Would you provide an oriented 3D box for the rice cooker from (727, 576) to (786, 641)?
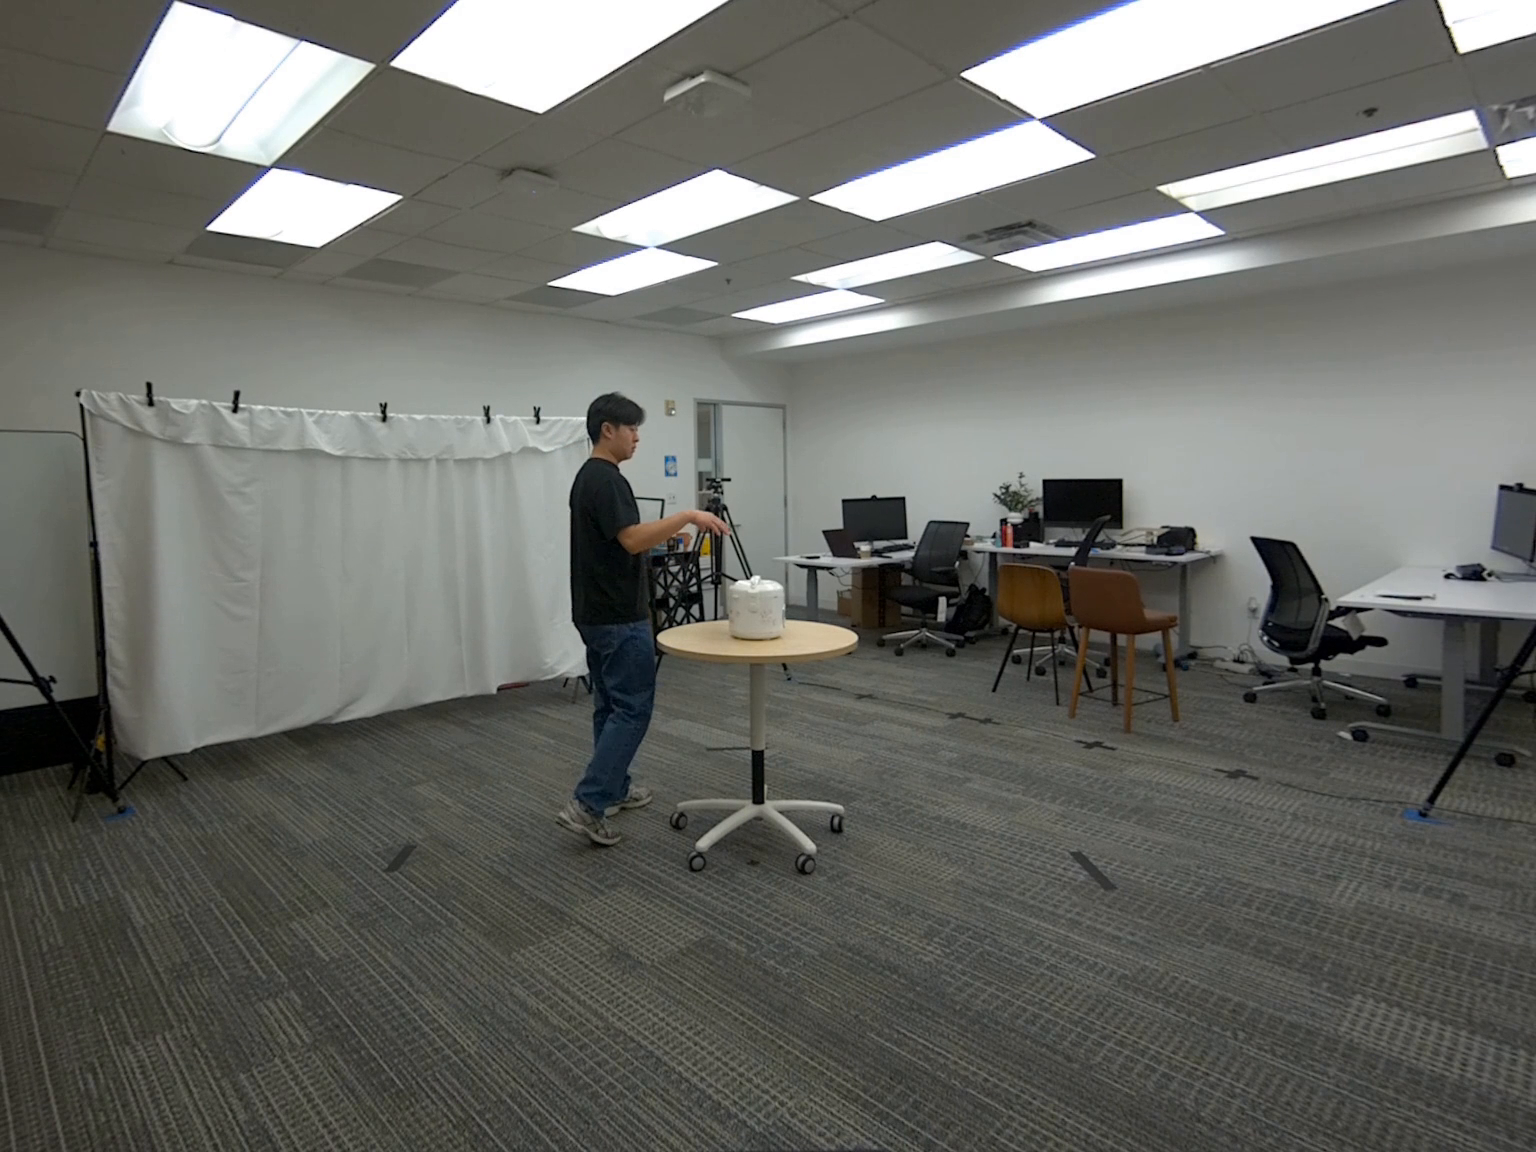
[{"bbox_3d":[-0.041,0.112,3.244,0.219,0.232,0.220,-1,5,7],"label":"rice cooker"}]
